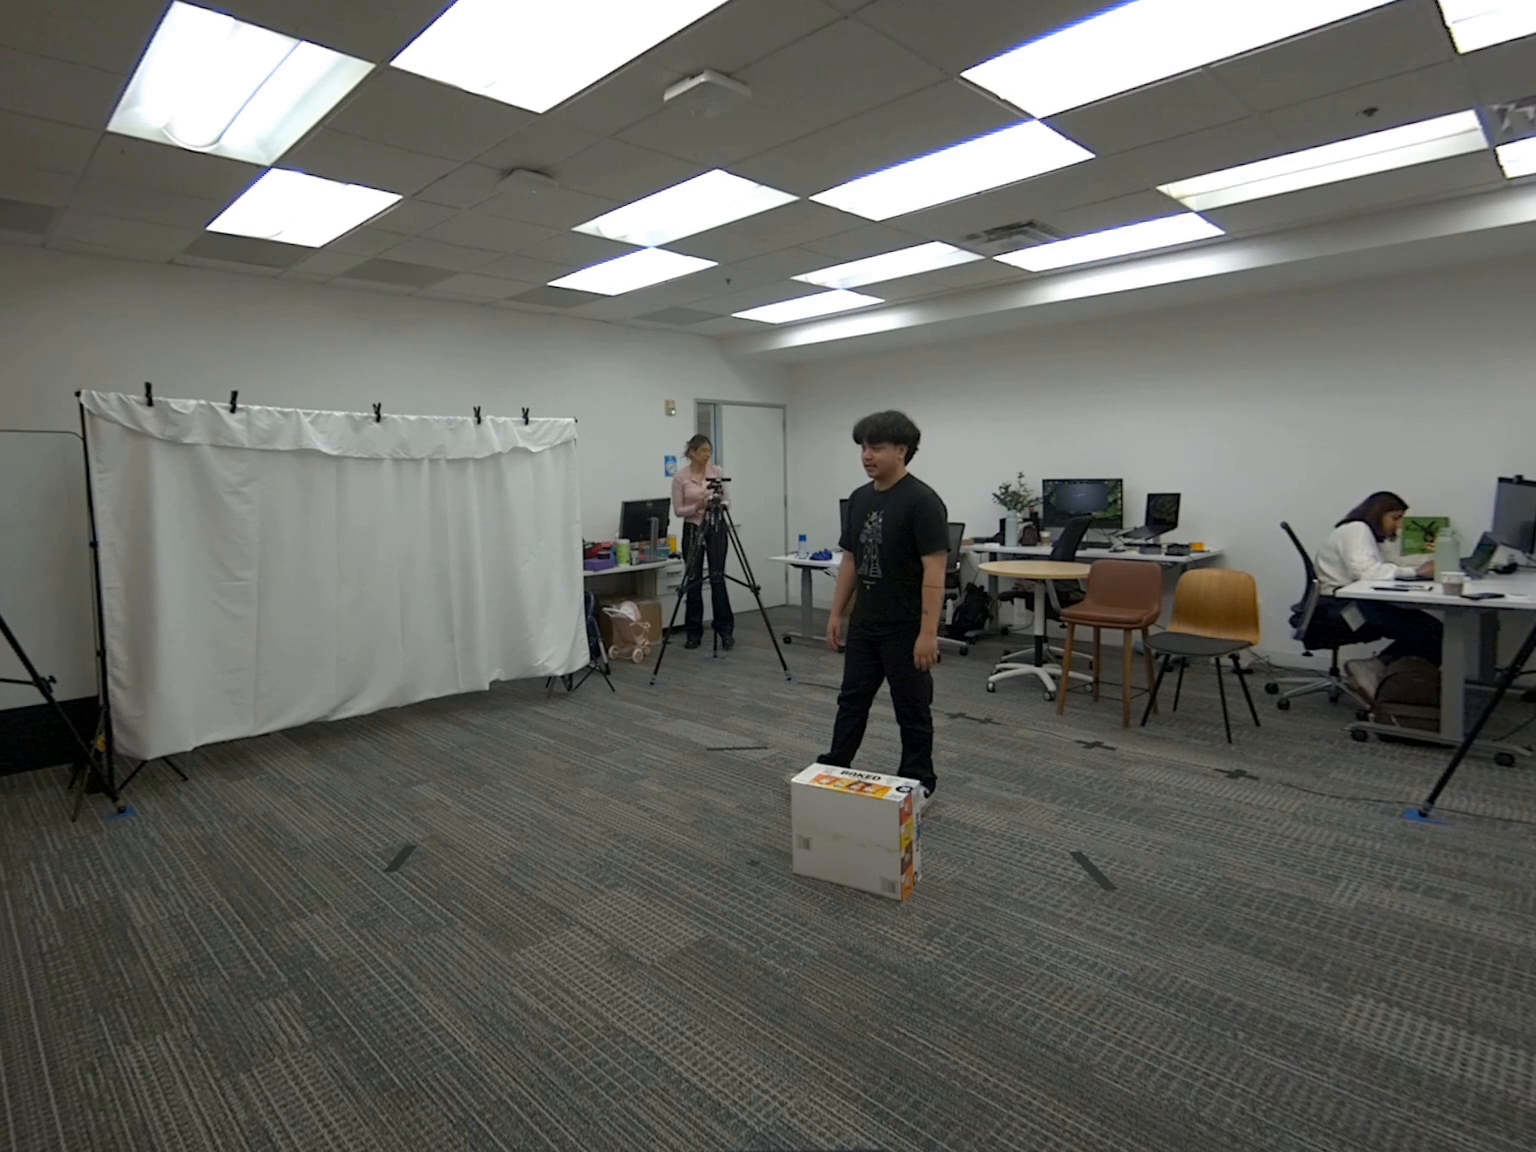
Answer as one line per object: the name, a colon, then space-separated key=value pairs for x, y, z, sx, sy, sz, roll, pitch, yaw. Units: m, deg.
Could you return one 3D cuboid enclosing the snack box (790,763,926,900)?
snack box: x=0.306 y=0.879 z=2.980 sx=0.416 sy=0.339 sz=0.201 roll=2 pitch=5 yaw=31
